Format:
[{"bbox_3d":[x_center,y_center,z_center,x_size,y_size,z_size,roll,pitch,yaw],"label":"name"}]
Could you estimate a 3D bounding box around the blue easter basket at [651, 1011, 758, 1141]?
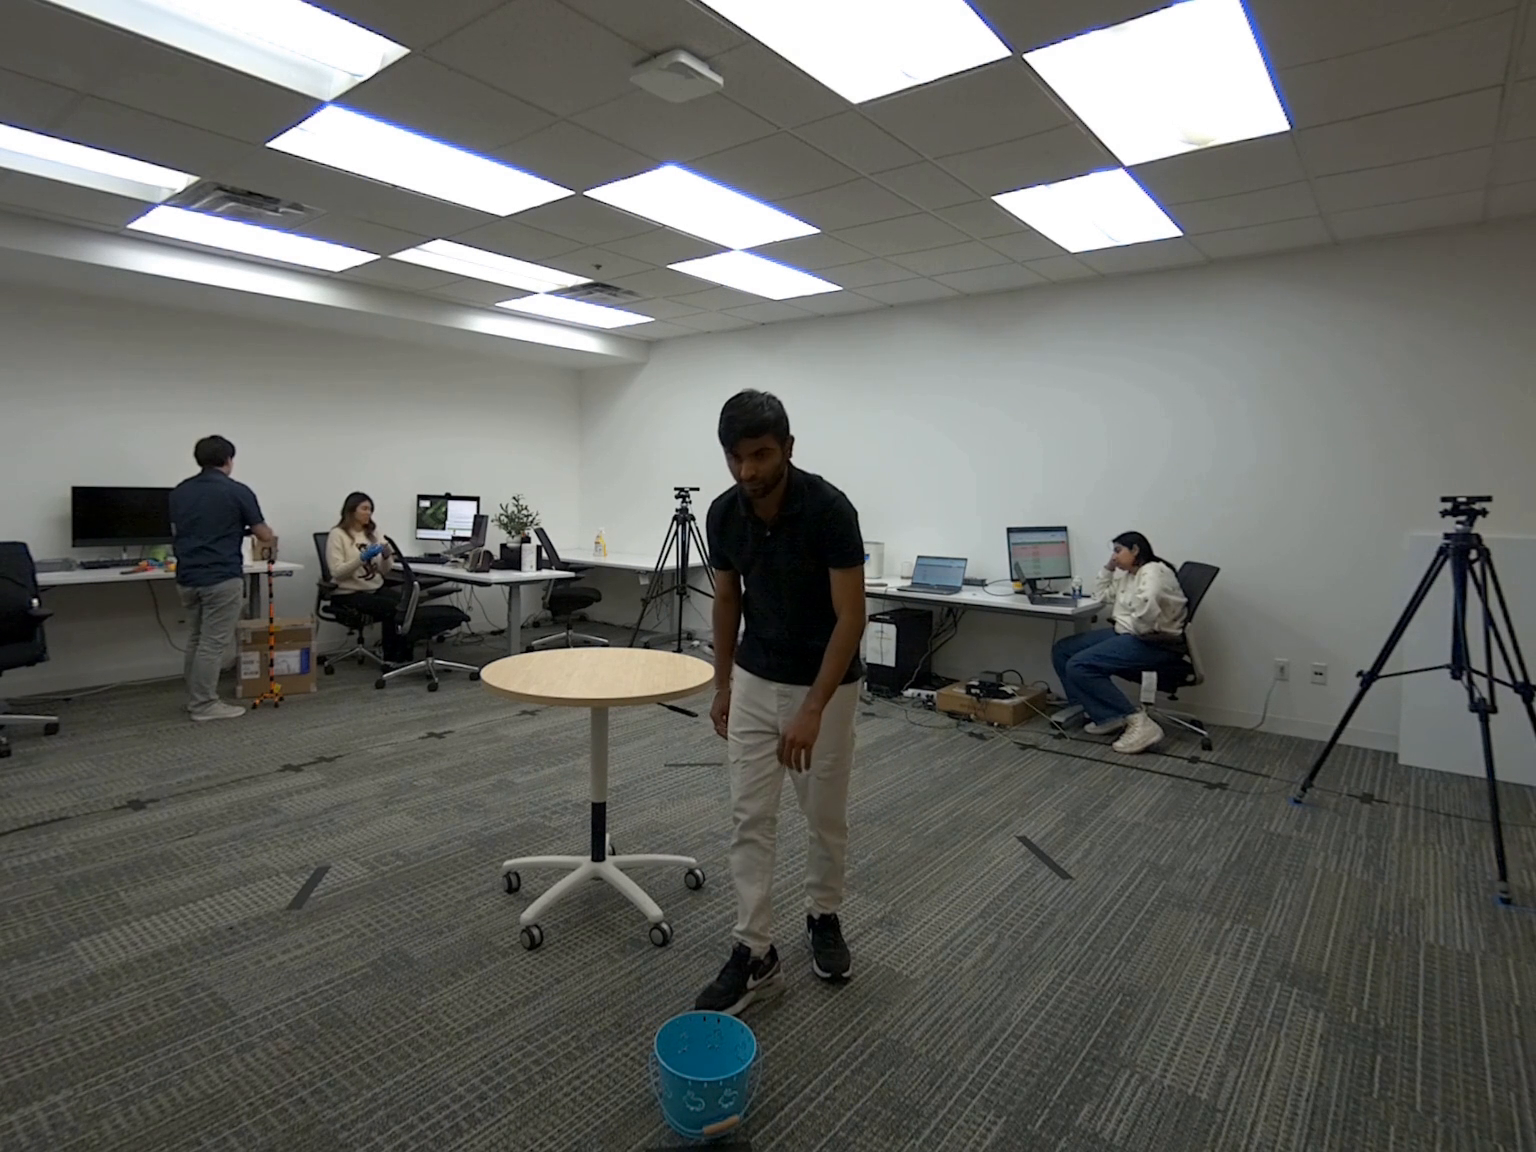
[{"bbox_3d":[-0.150,1.112,1.900,0.243,0.155,0.245,1,5,-2],"label":"blue easter basket"}]
